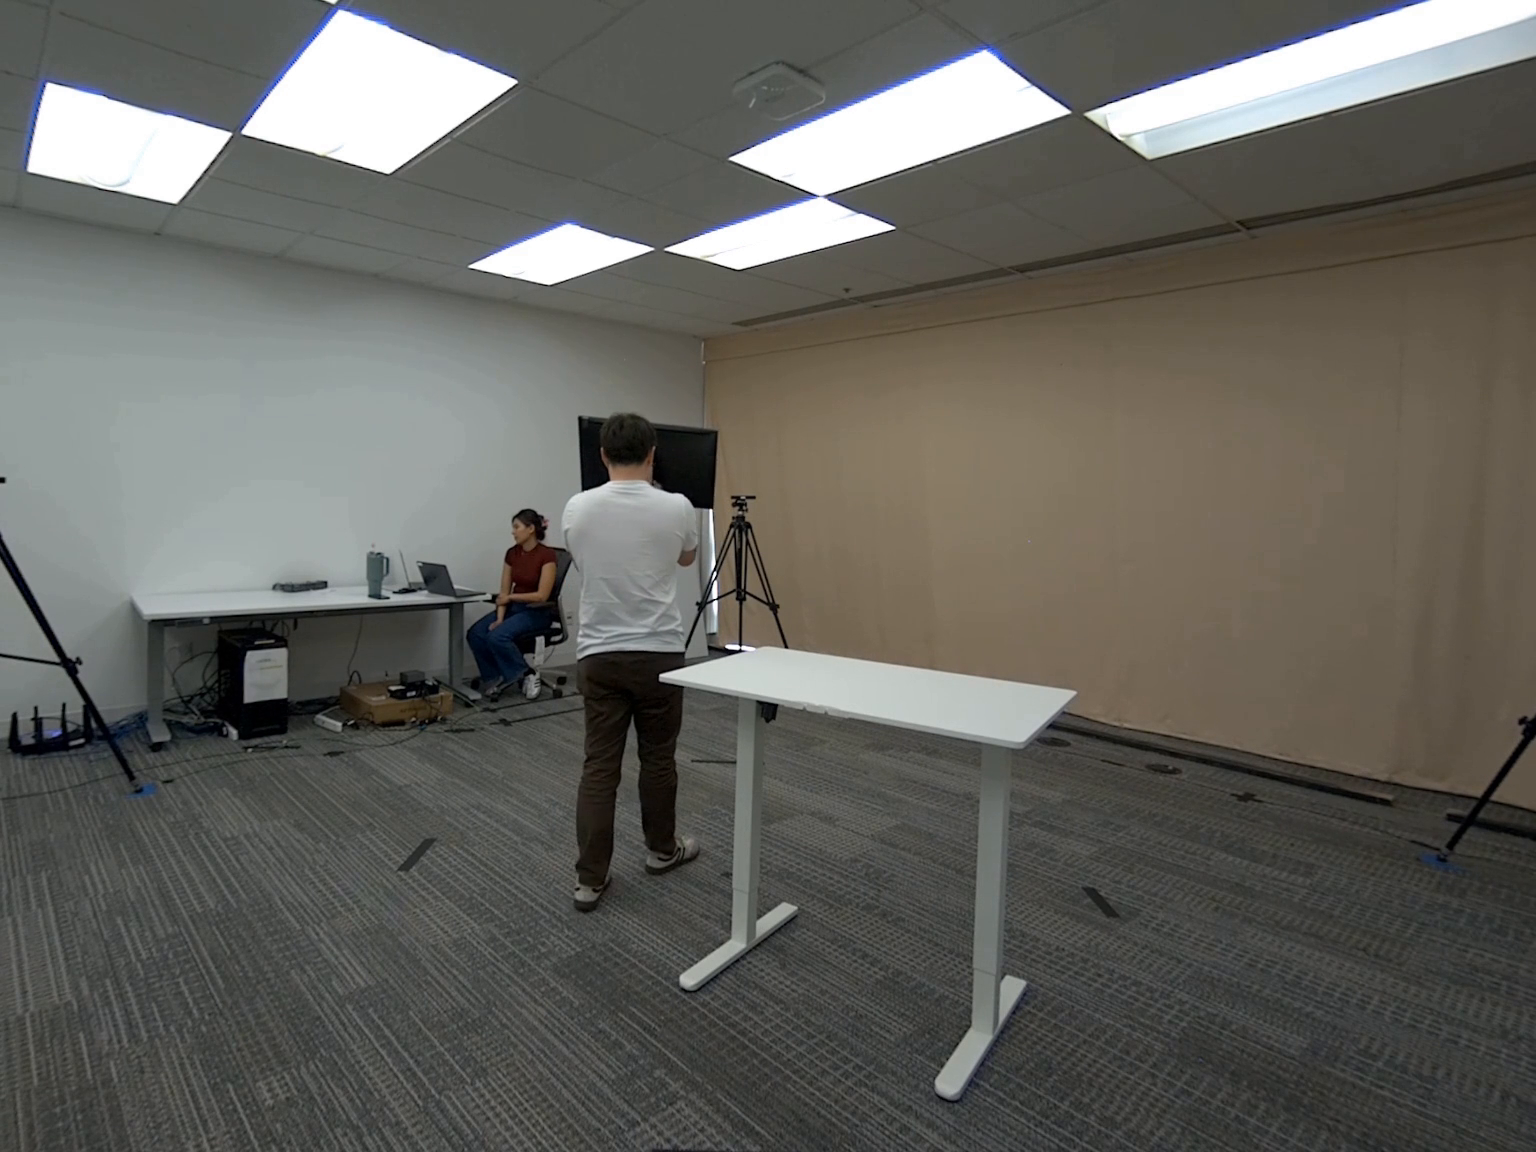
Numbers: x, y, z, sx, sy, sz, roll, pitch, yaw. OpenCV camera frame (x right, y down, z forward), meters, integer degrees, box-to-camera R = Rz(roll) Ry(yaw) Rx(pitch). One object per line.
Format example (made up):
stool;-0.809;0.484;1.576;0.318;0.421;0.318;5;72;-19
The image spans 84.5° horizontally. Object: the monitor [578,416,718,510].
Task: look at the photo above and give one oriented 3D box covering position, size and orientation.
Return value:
monitor;-0.478;-0.343;3.264;0.540;0.516;0.189;6;20;1
